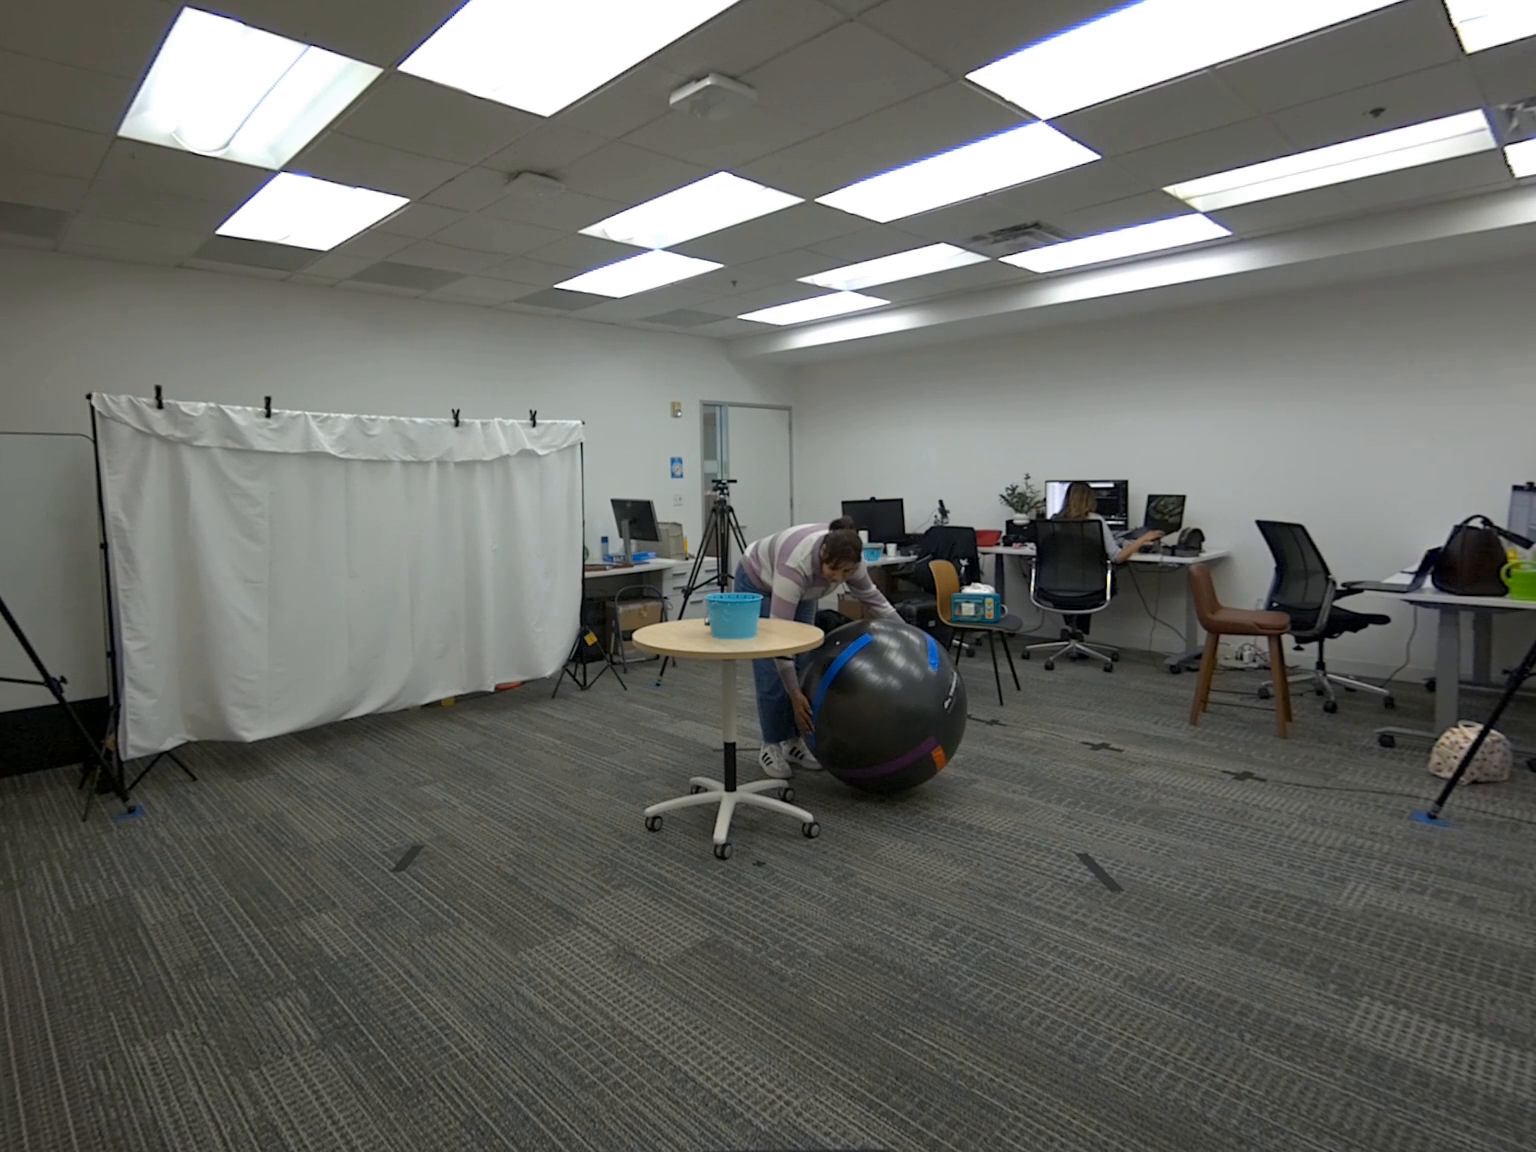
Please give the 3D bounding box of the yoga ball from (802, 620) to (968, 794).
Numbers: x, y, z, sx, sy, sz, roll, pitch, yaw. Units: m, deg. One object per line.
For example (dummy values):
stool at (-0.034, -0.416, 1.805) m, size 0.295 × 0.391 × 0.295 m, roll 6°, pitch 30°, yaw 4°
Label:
yoga ball at (0.508, 0.577, 3.798) m, size 0.757 × 0.755 × 0.762 m, roll -1°, pitch 5°, yaw -2°
